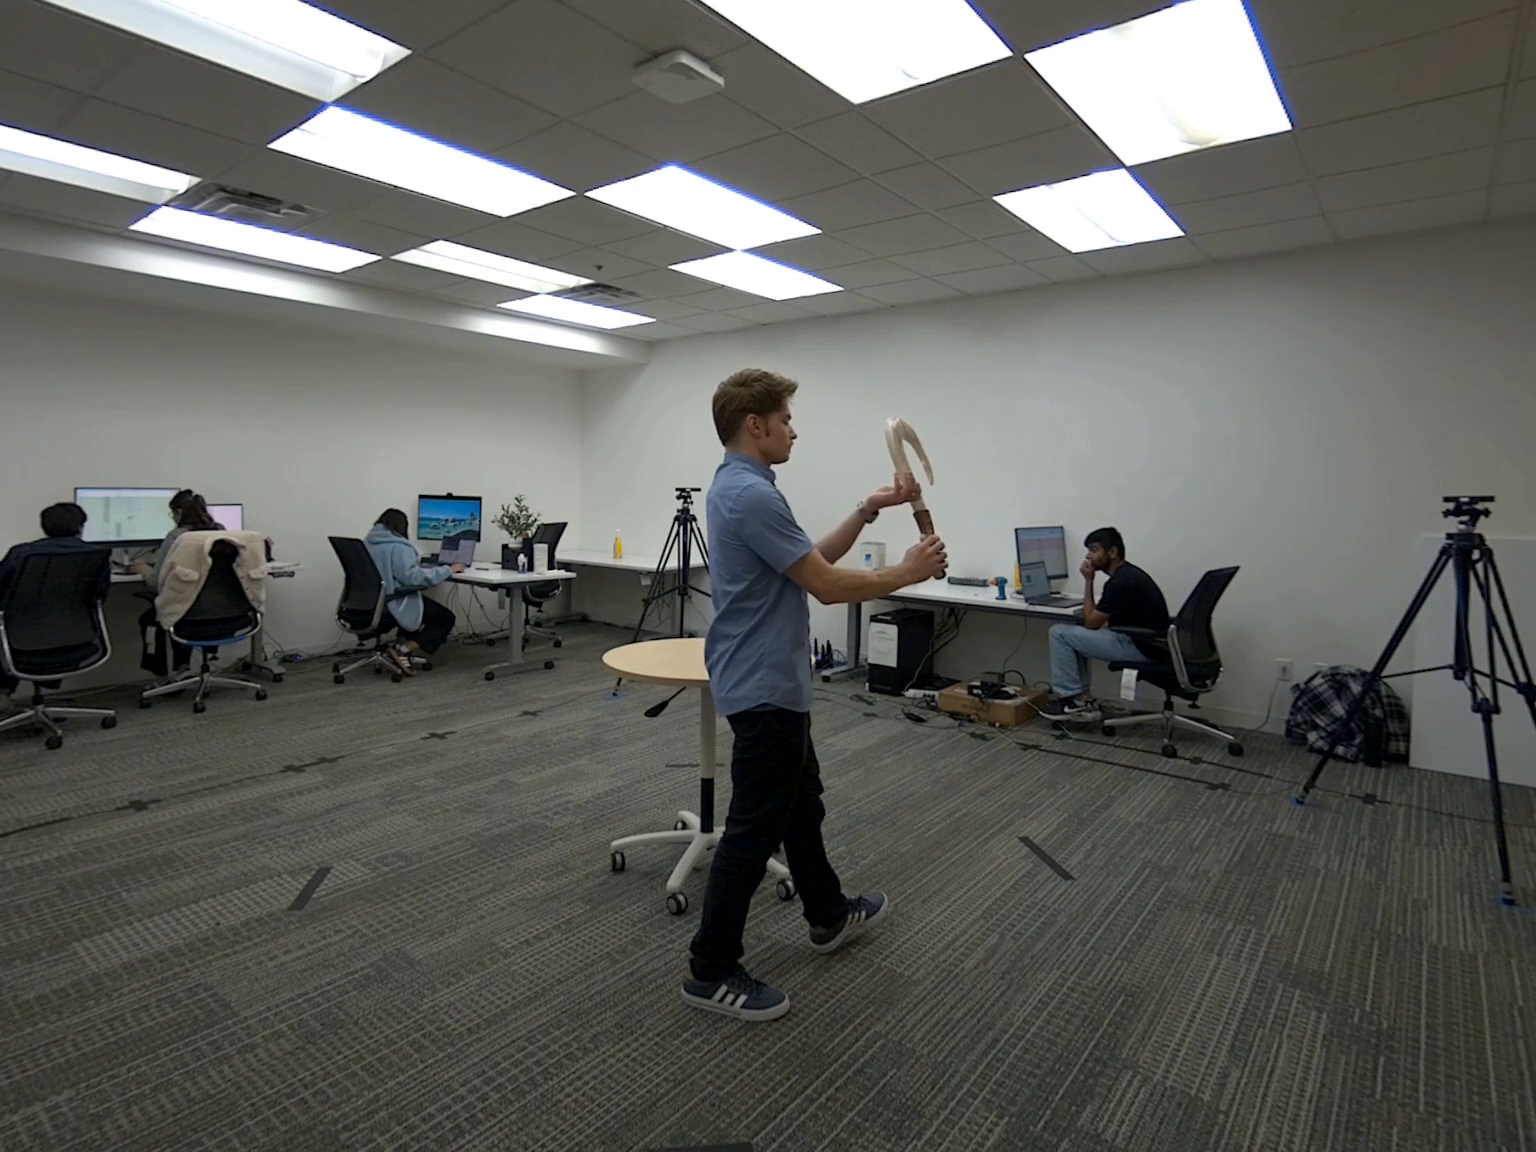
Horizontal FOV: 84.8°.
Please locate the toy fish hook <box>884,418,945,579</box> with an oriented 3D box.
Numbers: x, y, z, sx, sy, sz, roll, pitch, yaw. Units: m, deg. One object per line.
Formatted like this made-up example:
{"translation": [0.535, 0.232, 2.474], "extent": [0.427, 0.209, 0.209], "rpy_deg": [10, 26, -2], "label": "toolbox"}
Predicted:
{"translation": [0.437, -0.227, 2.412], "extent": [0.049, 0.517, 0.216], "rpy_deg": [-26, -24, 37], "label": "toy fish hook"}
